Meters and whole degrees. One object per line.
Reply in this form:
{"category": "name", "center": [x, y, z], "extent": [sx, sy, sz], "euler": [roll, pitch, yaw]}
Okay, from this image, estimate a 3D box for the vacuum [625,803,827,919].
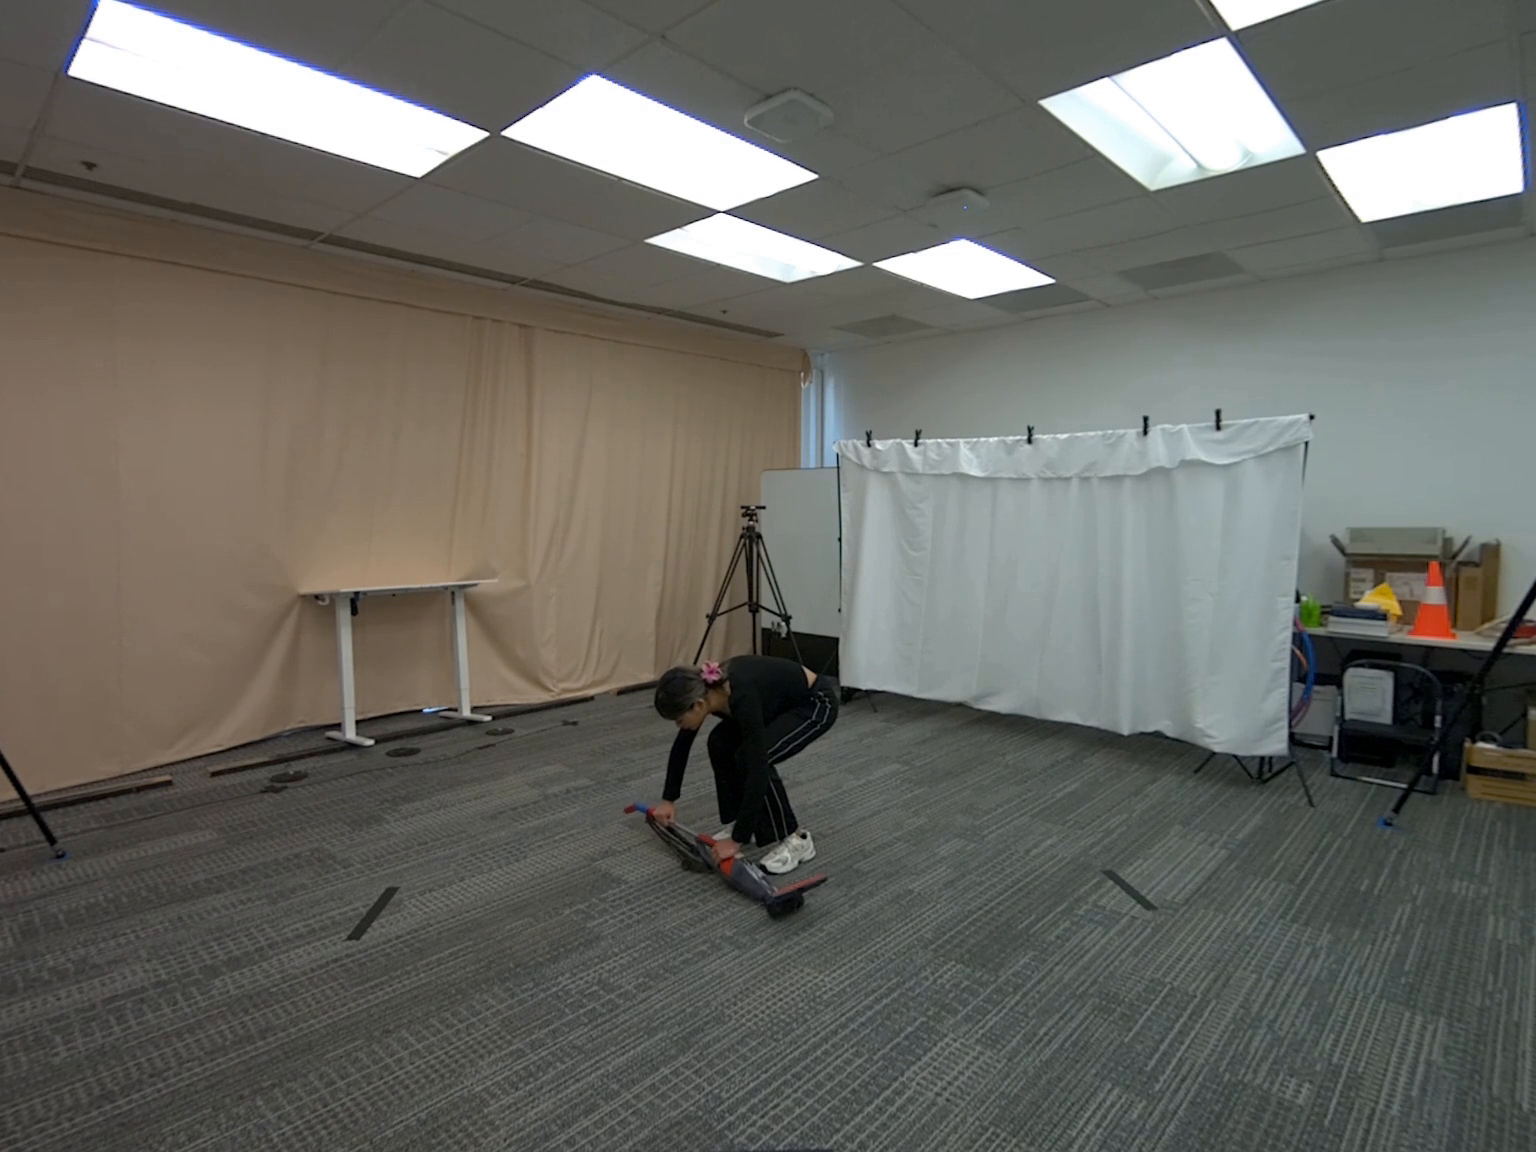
{"category": "vacuum", "center": [-0.271, 1.041, 3.240], "extent": [0.245, 0.144, 1.084], "euler": [-2, 4, -40]}
